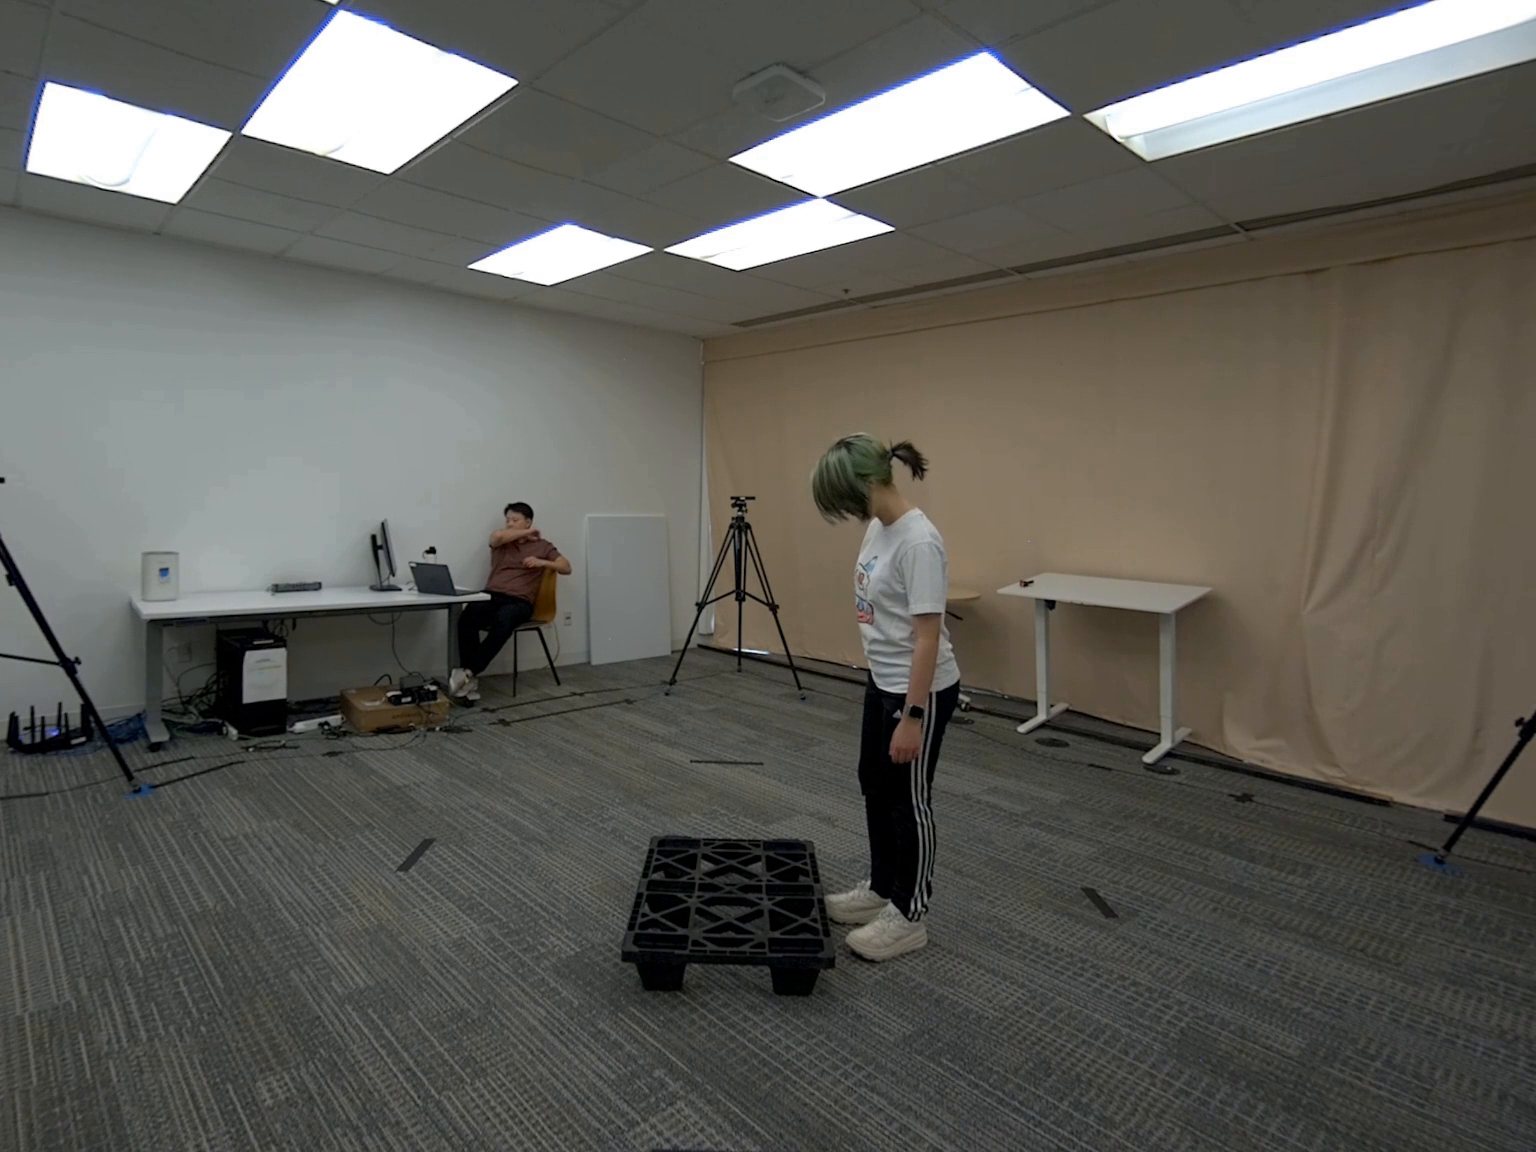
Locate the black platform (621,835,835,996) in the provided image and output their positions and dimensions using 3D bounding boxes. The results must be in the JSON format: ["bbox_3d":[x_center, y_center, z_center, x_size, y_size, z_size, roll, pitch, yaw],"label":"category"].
[{"bbox_3d":[-0.124,1.070,2.725,0.605,0.143,0.808,2,5,-1],"label":"black platform"}]
